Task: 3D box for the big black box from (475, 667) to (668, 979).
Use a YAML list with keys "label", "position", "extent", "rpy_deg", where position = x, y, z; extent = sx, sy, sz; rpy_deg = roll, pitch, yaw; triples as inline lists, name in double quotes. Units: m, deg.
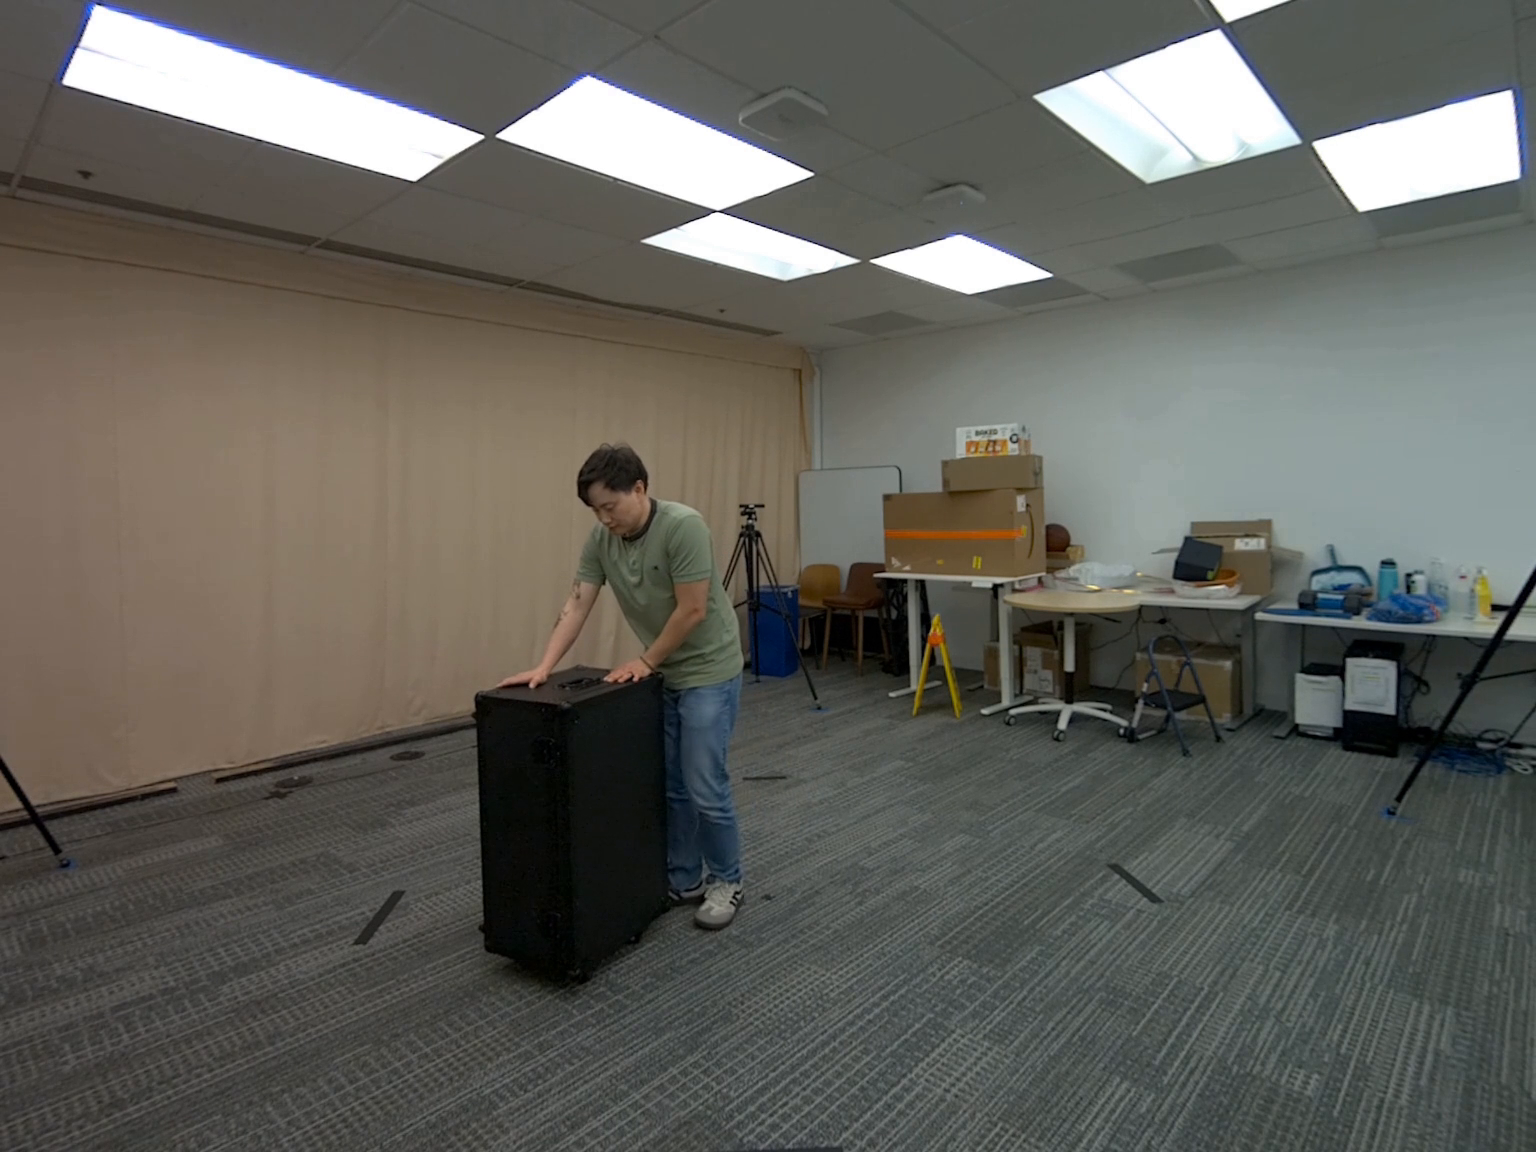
- label: "big black box"
  position: [-0.614, 0.762, 2.621]
  extent: [0.407, 0.860, 0.508]
  rpy_deg: [0, 3, 29]
